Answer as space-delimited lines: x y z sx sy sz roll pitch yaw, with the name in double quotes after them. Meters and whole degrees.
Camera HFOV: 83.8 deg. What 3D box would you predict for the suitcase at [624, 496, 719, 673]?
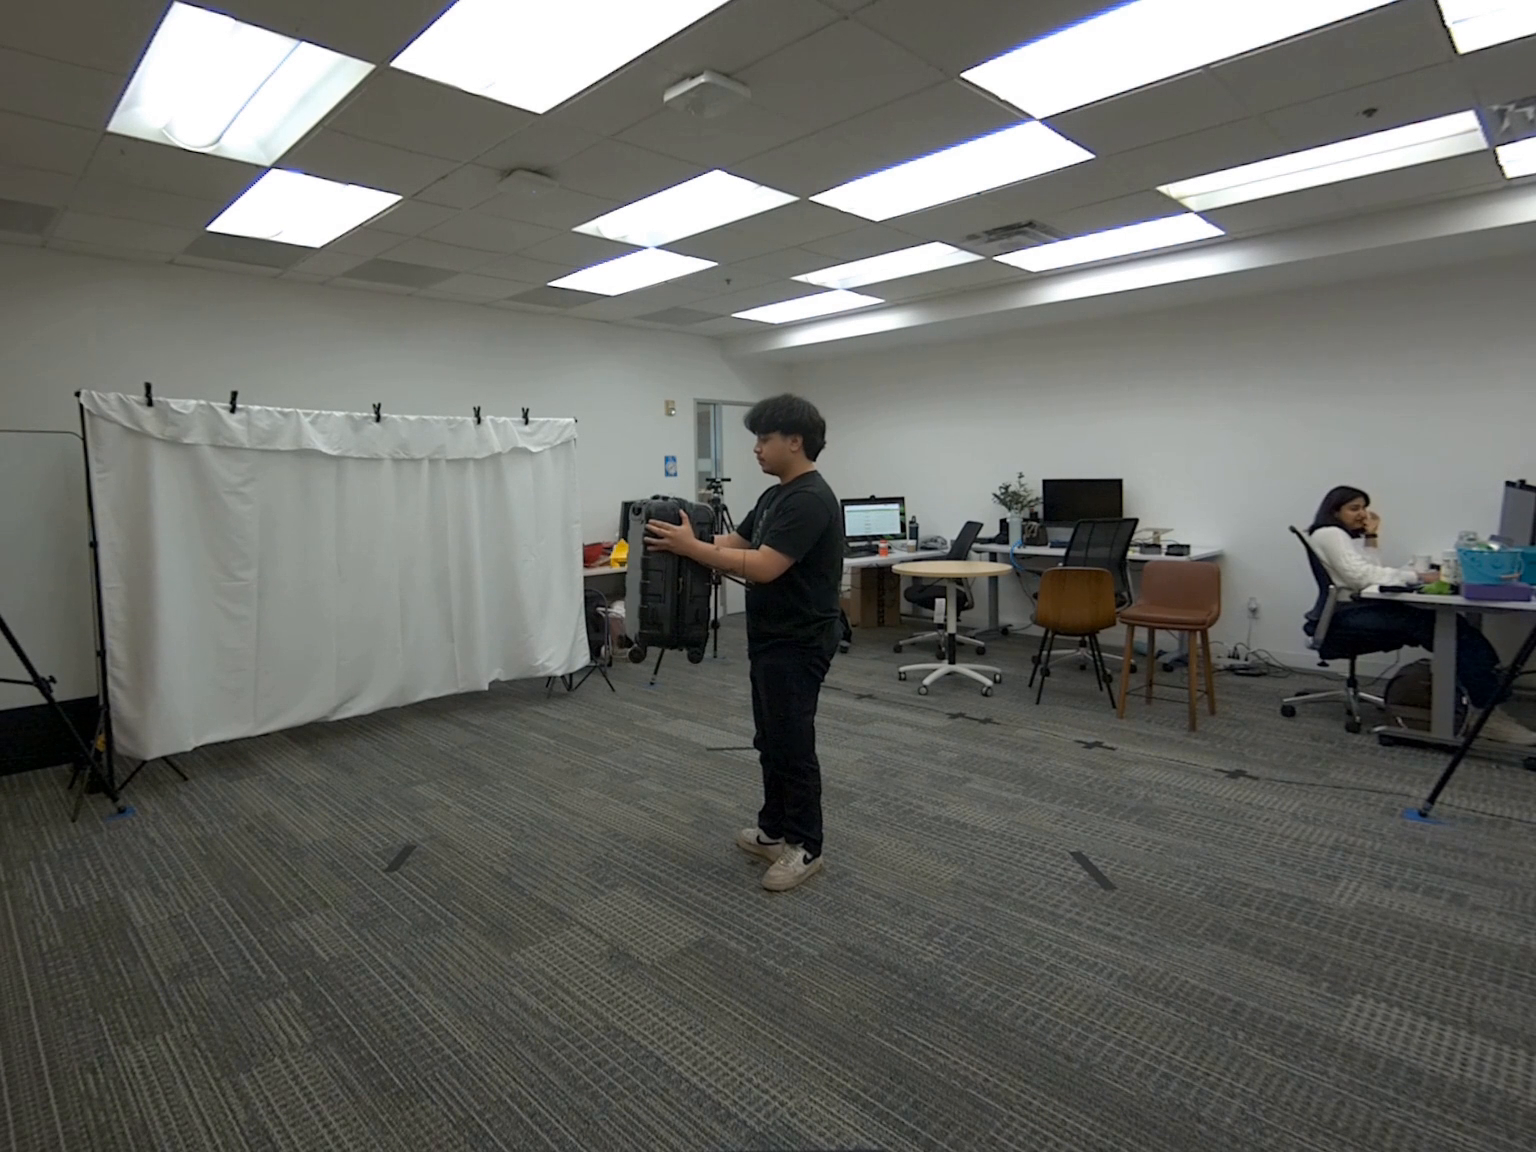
-0.343 -0.002 2.952 0.244 0.549 0.382 3 1 -19 "suitcase"
